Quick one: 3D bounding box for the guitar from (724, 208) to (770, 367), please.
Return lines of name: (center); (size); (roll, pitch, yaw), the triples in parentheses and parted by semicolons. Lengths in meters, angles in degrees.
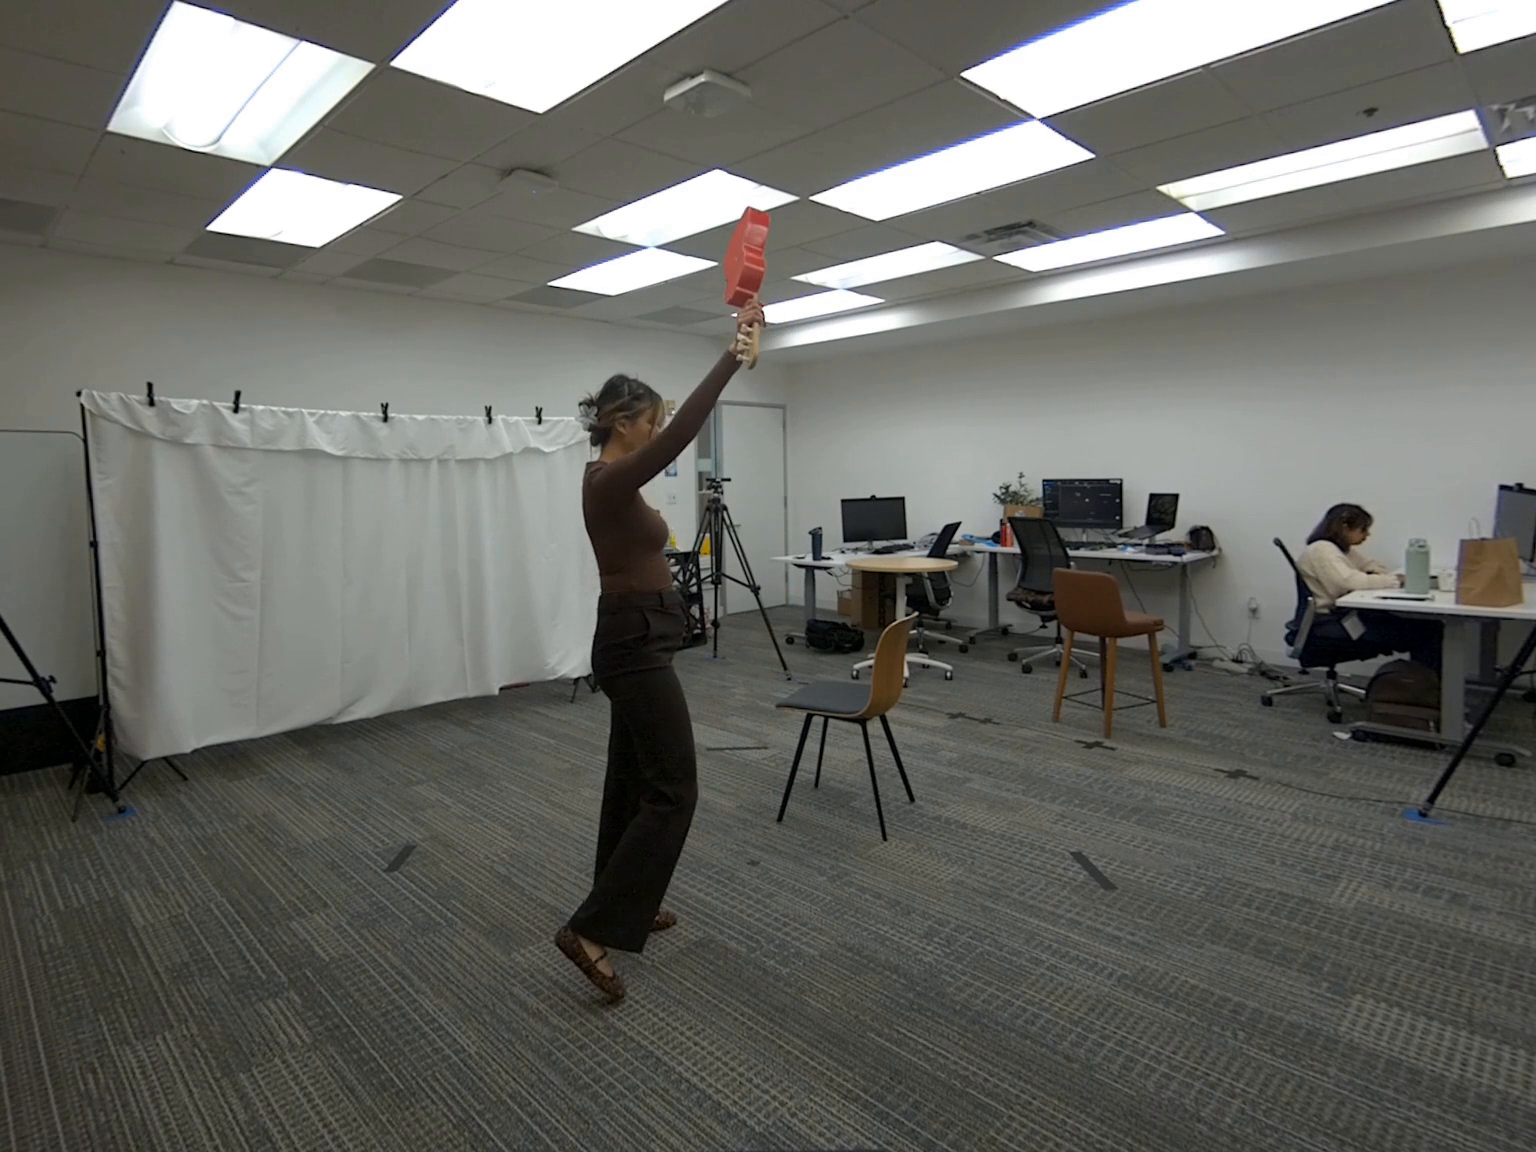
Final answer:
guitar: (-0.041, -0.743, 2.184); (0.069, 0.512, 0.191); (12, -42, -19)
